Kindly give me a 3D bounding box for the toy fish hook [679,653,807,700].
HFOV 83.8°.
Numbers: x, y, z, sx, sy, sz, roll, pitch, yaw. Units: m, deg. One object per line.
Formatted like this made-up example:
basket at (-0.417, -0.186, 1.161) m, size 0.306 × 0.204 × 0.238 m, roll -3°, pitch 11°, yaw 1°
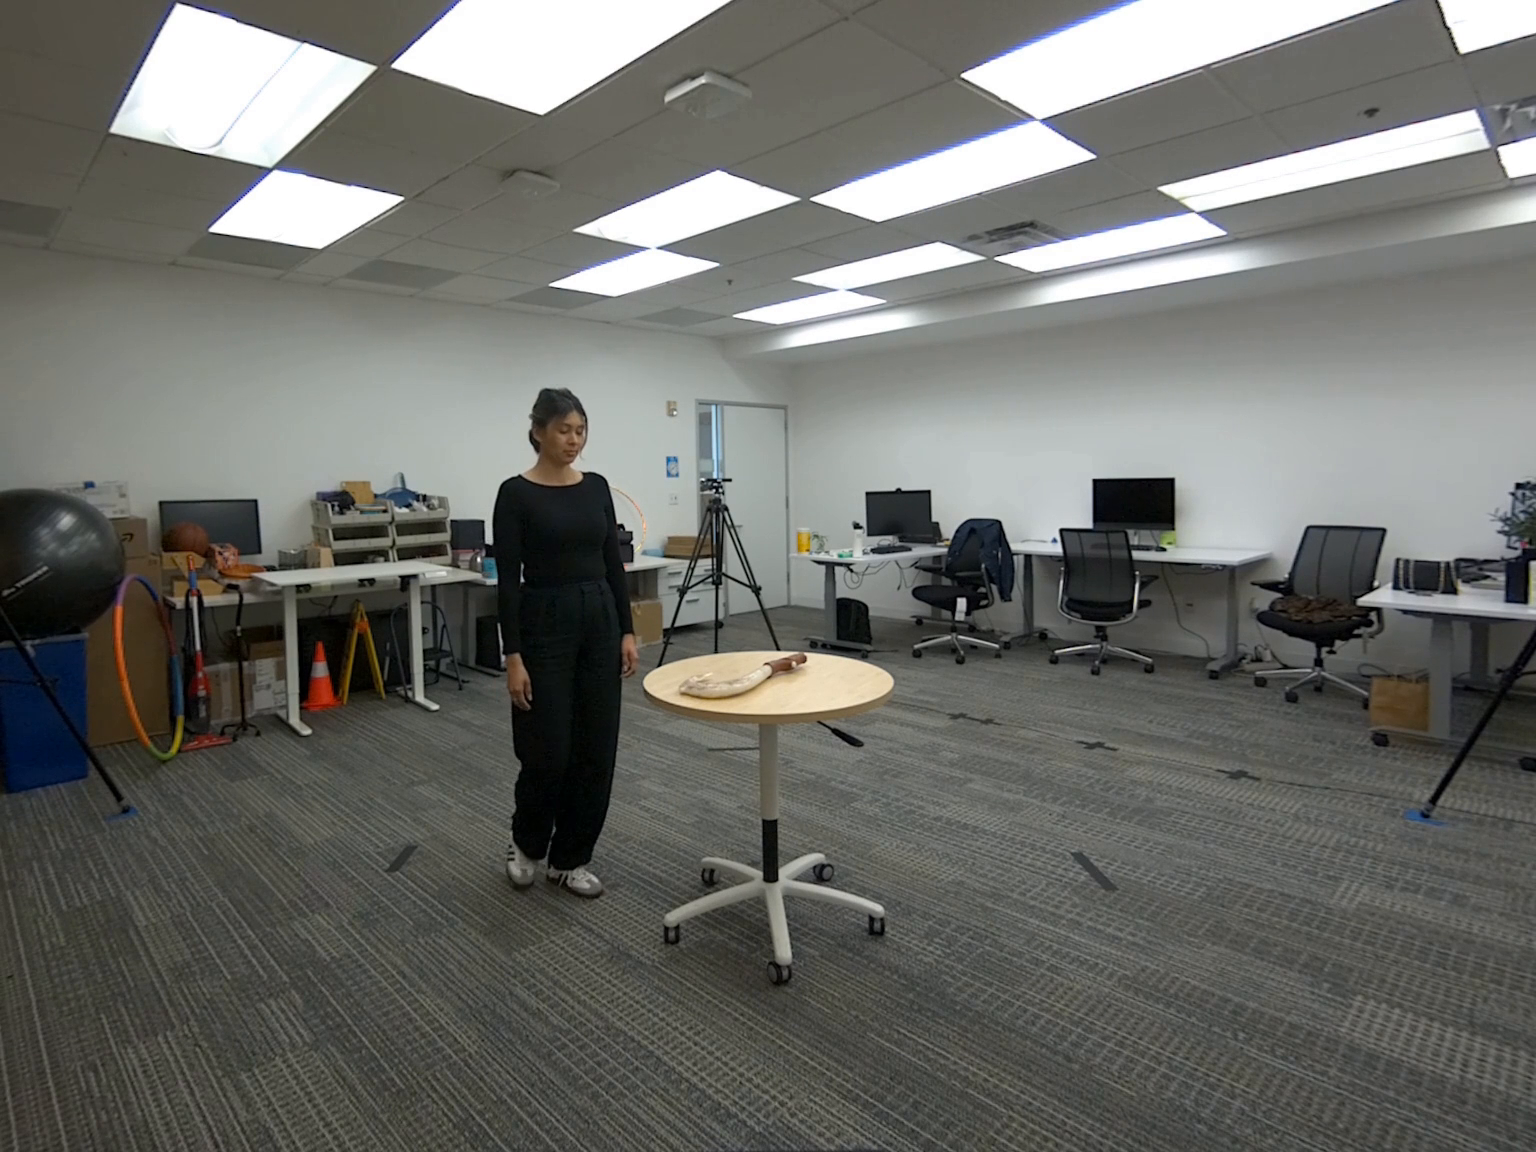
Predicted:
toy fish hook at (-0.072, 0.294, 2.620) m, size 0.231 × 0.048 × 0.495 m, roll 4°, pitch 9°, yaw 35°
